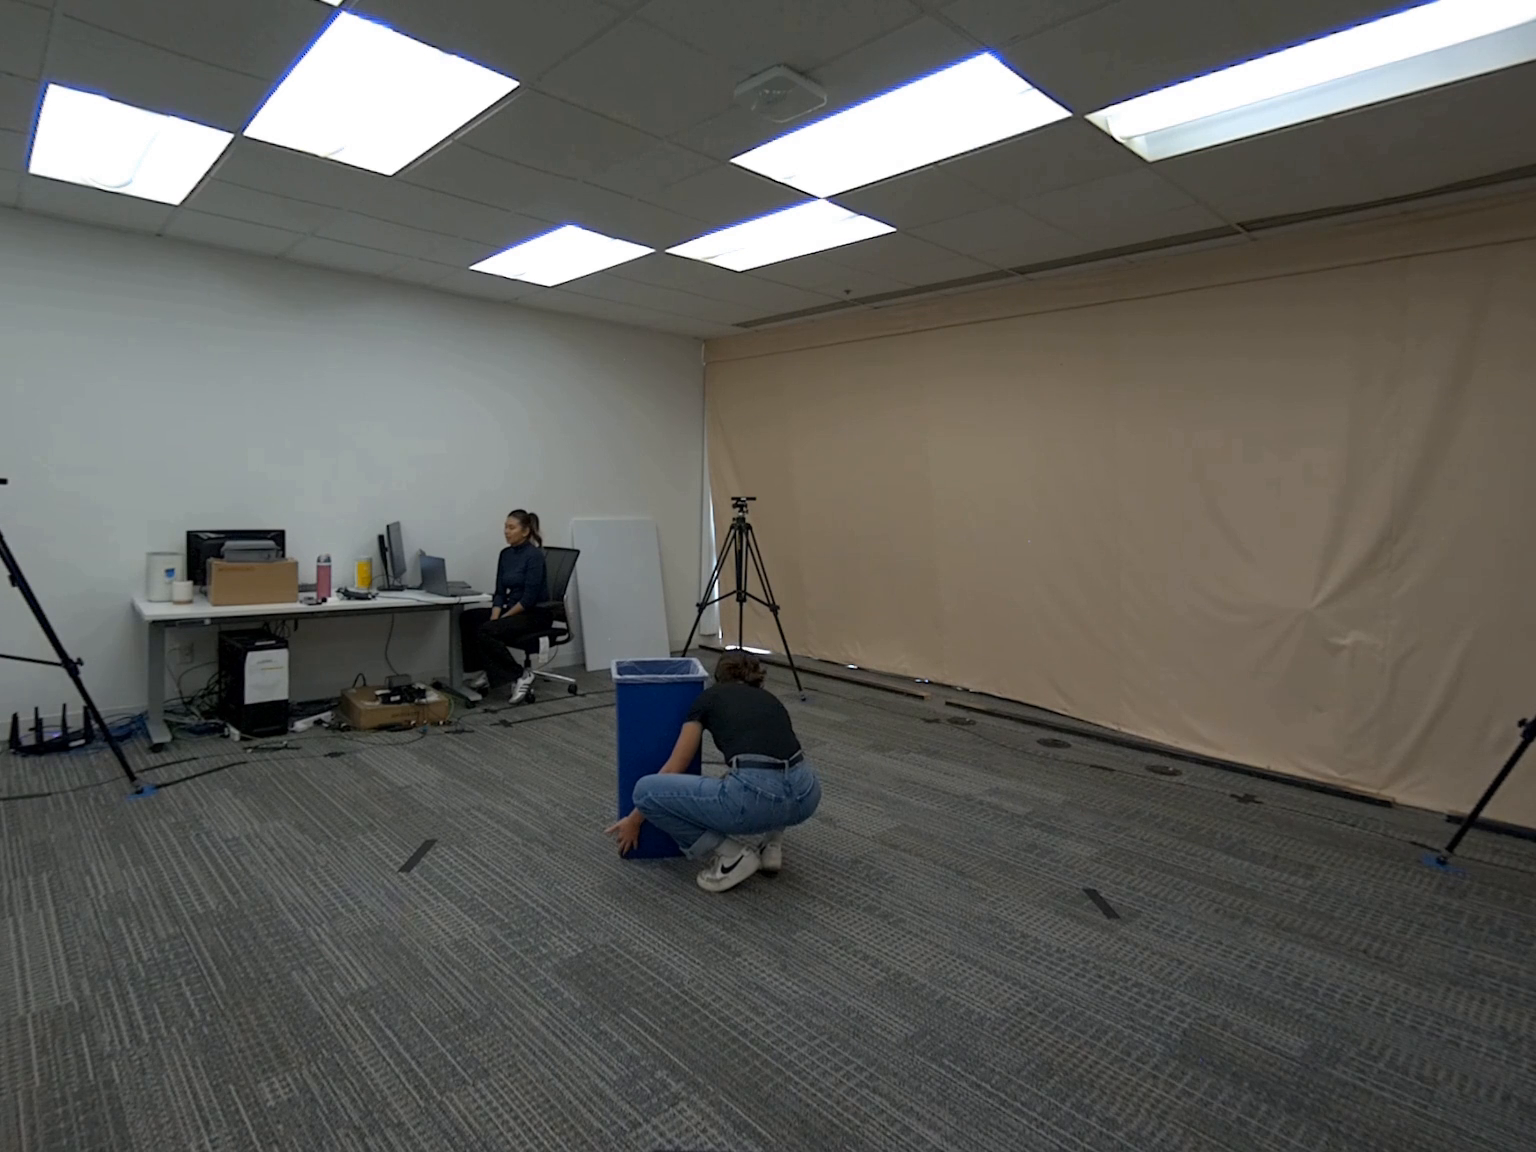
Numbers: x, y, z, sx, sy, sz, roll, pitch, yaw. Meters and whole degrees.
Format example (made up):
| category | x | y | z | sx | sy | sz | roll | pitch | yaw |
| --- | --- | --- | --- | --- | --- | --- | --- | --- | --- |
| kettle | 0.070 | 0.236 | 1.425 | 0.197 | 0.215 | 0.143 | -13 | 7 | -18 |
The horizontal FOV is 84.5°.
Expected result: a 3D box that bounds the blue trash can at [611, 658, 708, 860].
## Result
| category | x | y | z | sx | sy | sz | roll | pitch | yaw |
| --- | --- | --- | --- | --- | --- | --- | --- | --- | --- |
| blue trash can | -0.456 | 0.716 | 3.382 | 0.371 | 0.712 | 0.382 | 1 | 3 | -11 |
